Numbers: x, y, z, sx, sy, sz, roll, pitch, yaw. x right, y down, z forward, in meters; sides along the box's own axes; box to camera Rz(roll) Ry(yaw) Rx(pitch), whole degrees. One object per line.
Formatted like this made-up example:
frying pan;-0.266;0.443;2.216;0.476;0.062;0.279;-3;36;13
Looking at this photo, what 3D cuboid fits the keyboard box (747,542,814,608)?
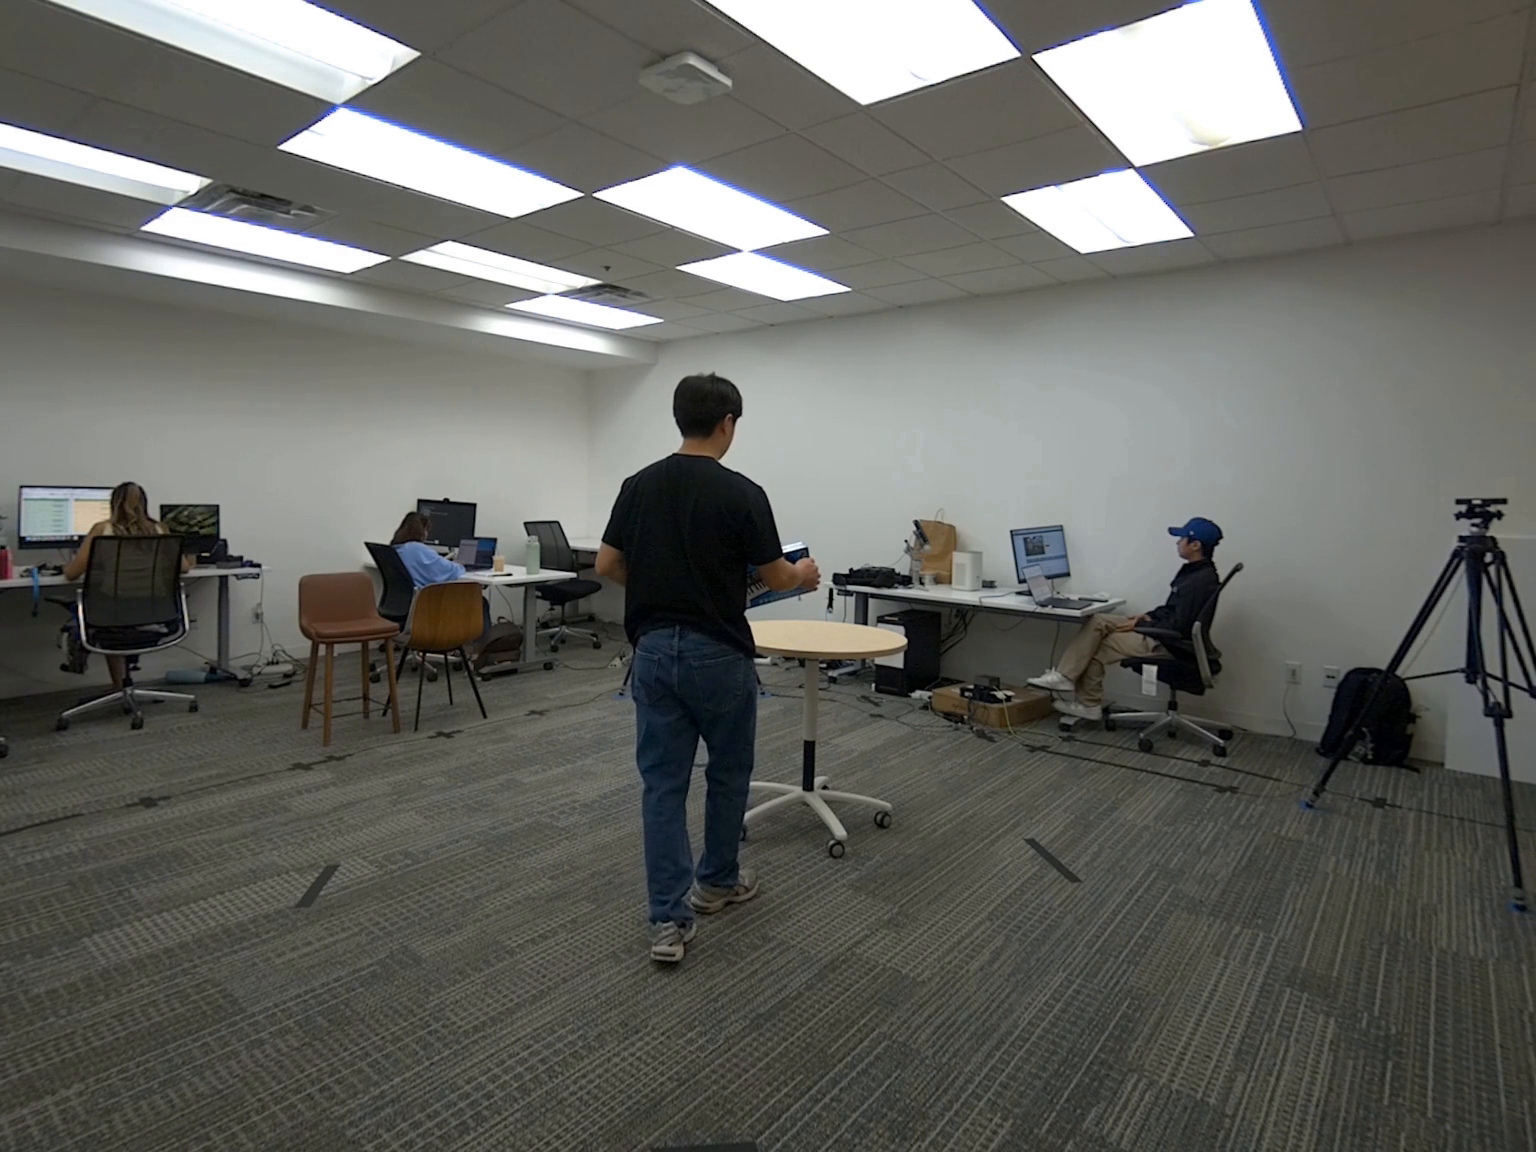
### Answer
keyboard box;-0.071;0.018;2.973;0.433;0.172;0.061;-15;20;-10
